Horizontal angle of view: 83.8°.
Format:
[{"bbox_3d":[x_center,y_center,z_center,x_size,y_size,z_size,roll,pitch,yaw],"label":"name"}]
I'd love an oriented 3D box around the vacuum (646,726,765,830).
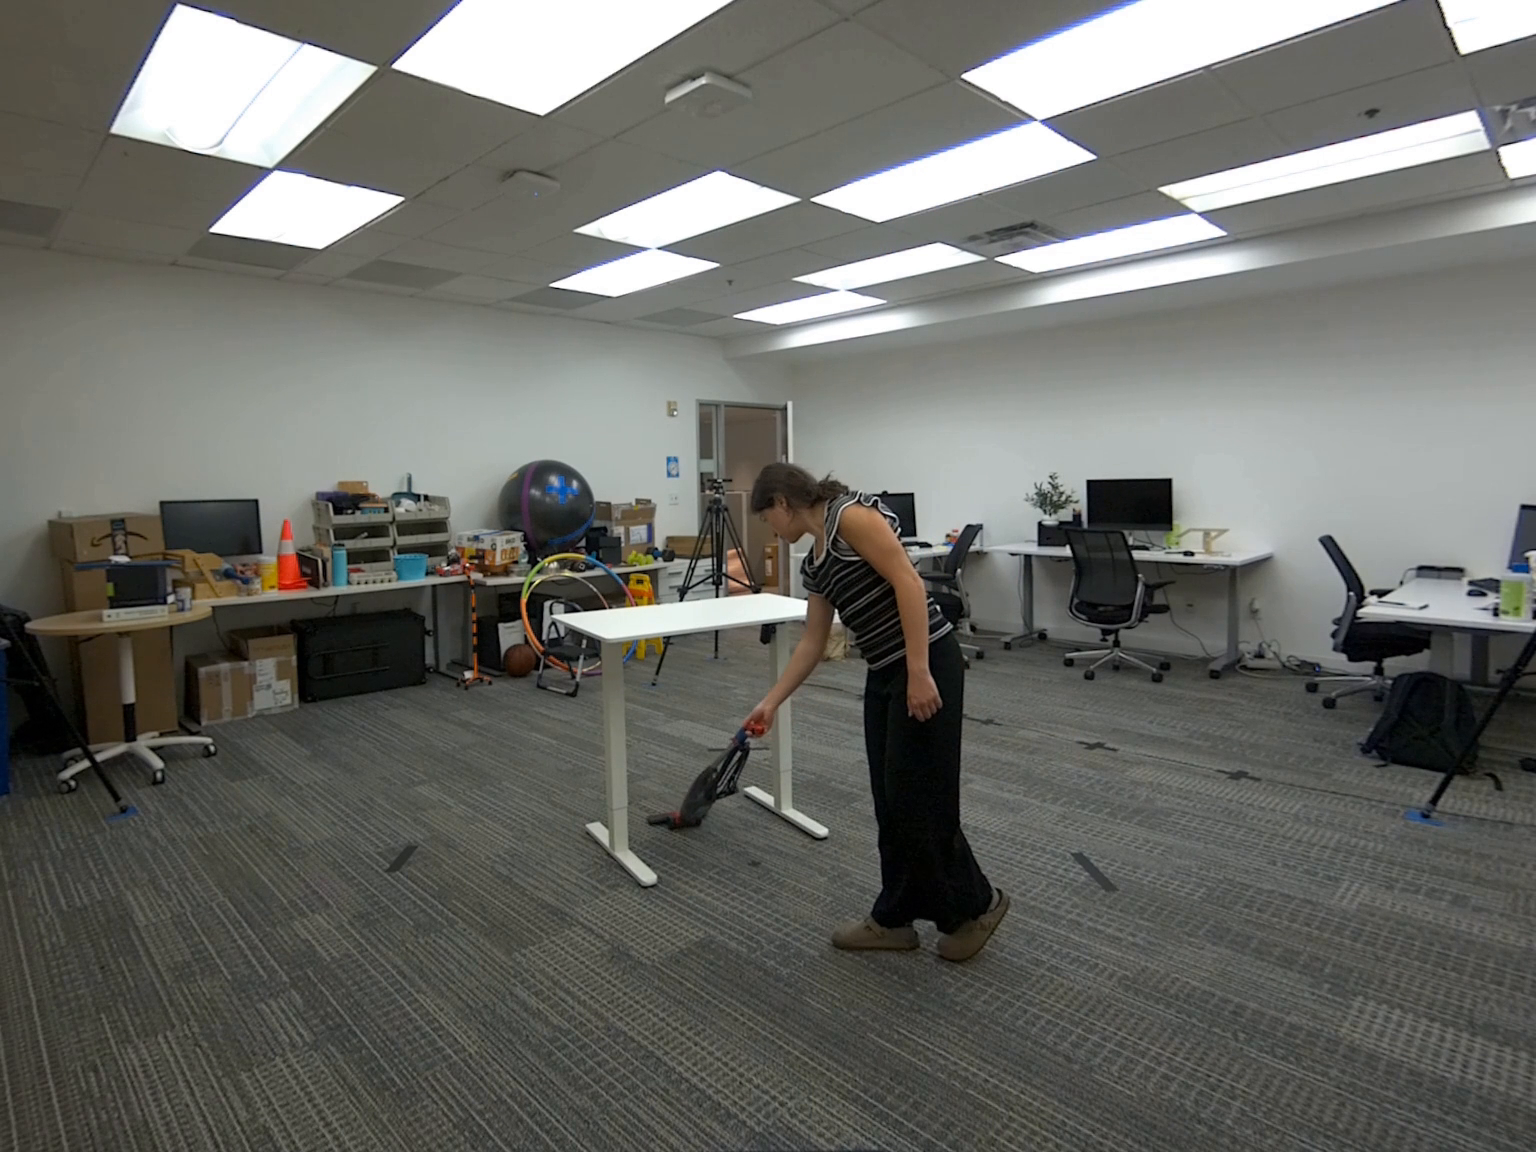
[{"bbox_3d":[-0.187,0.733,3.064,0.248,0.148,1.041,-12,-24,-28],"label":"vacuum"}]
